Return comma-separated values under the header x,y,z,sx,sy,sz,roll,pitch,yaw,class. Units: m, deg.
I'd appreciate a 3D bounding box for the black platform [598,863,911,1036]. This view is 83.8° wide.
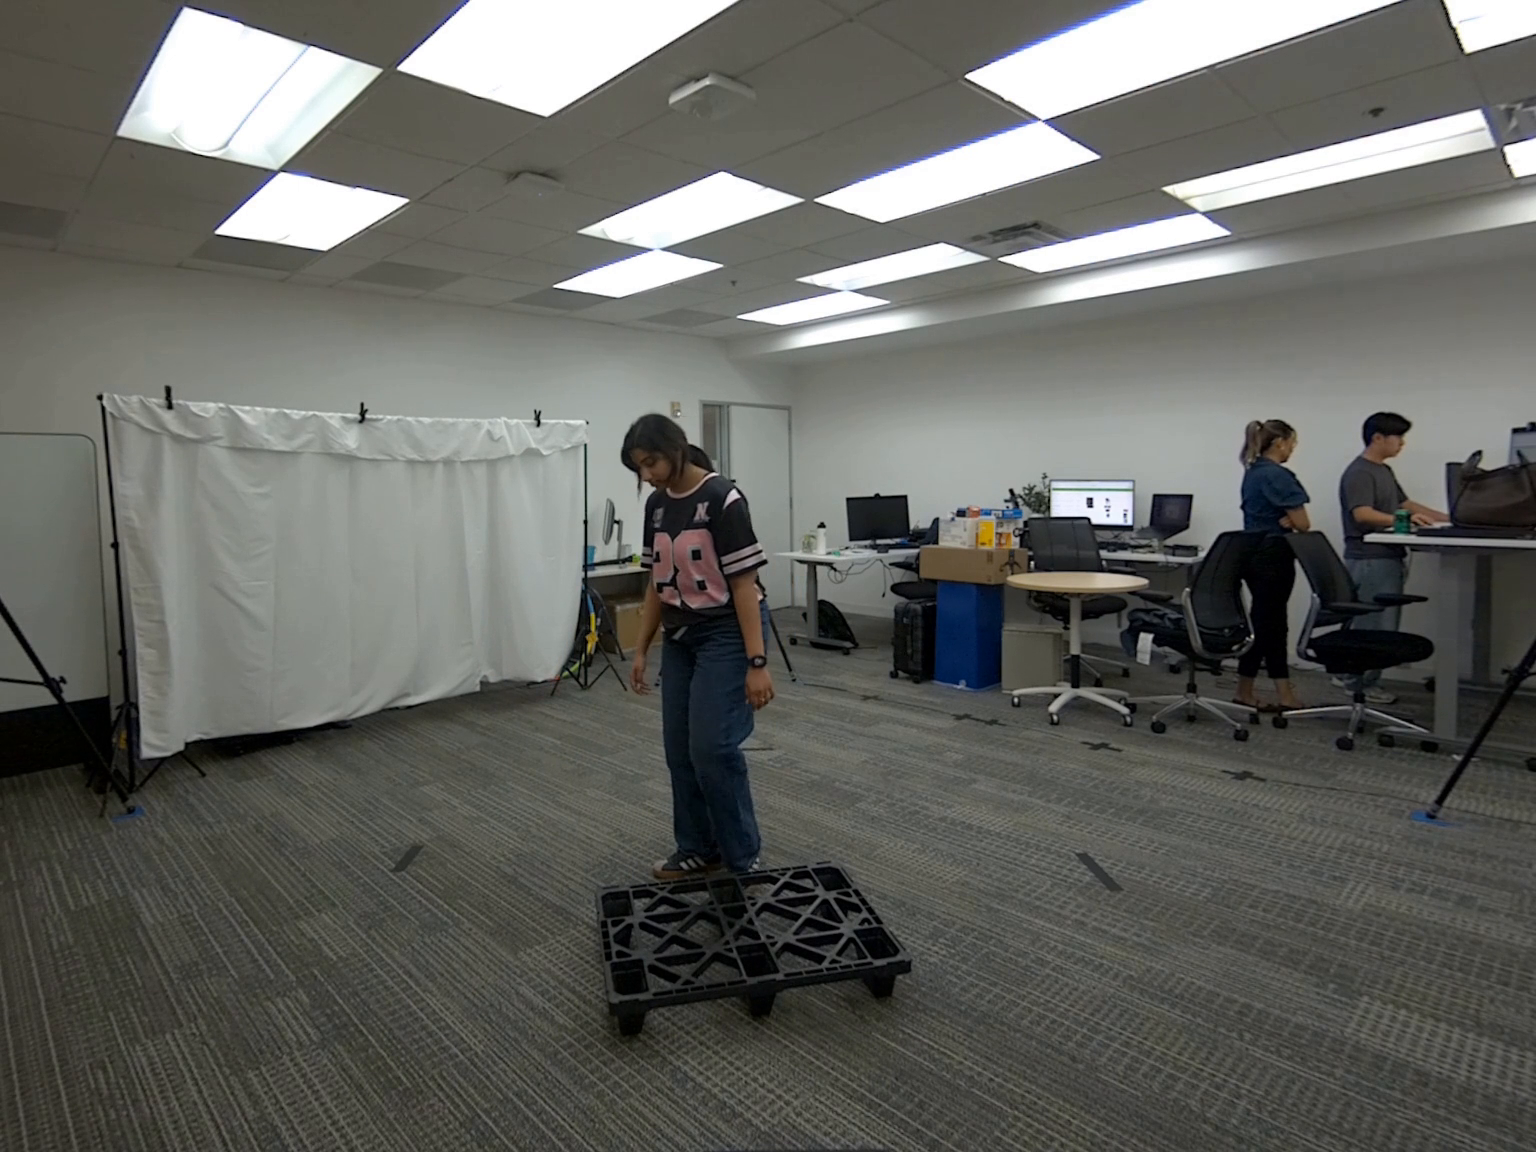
x,y,z,sx,sy,sz,roll,pitch,yaw,class
-0.076,1.058,2.454,0.796,0.143,0.614,-2,6,-13,black platform
